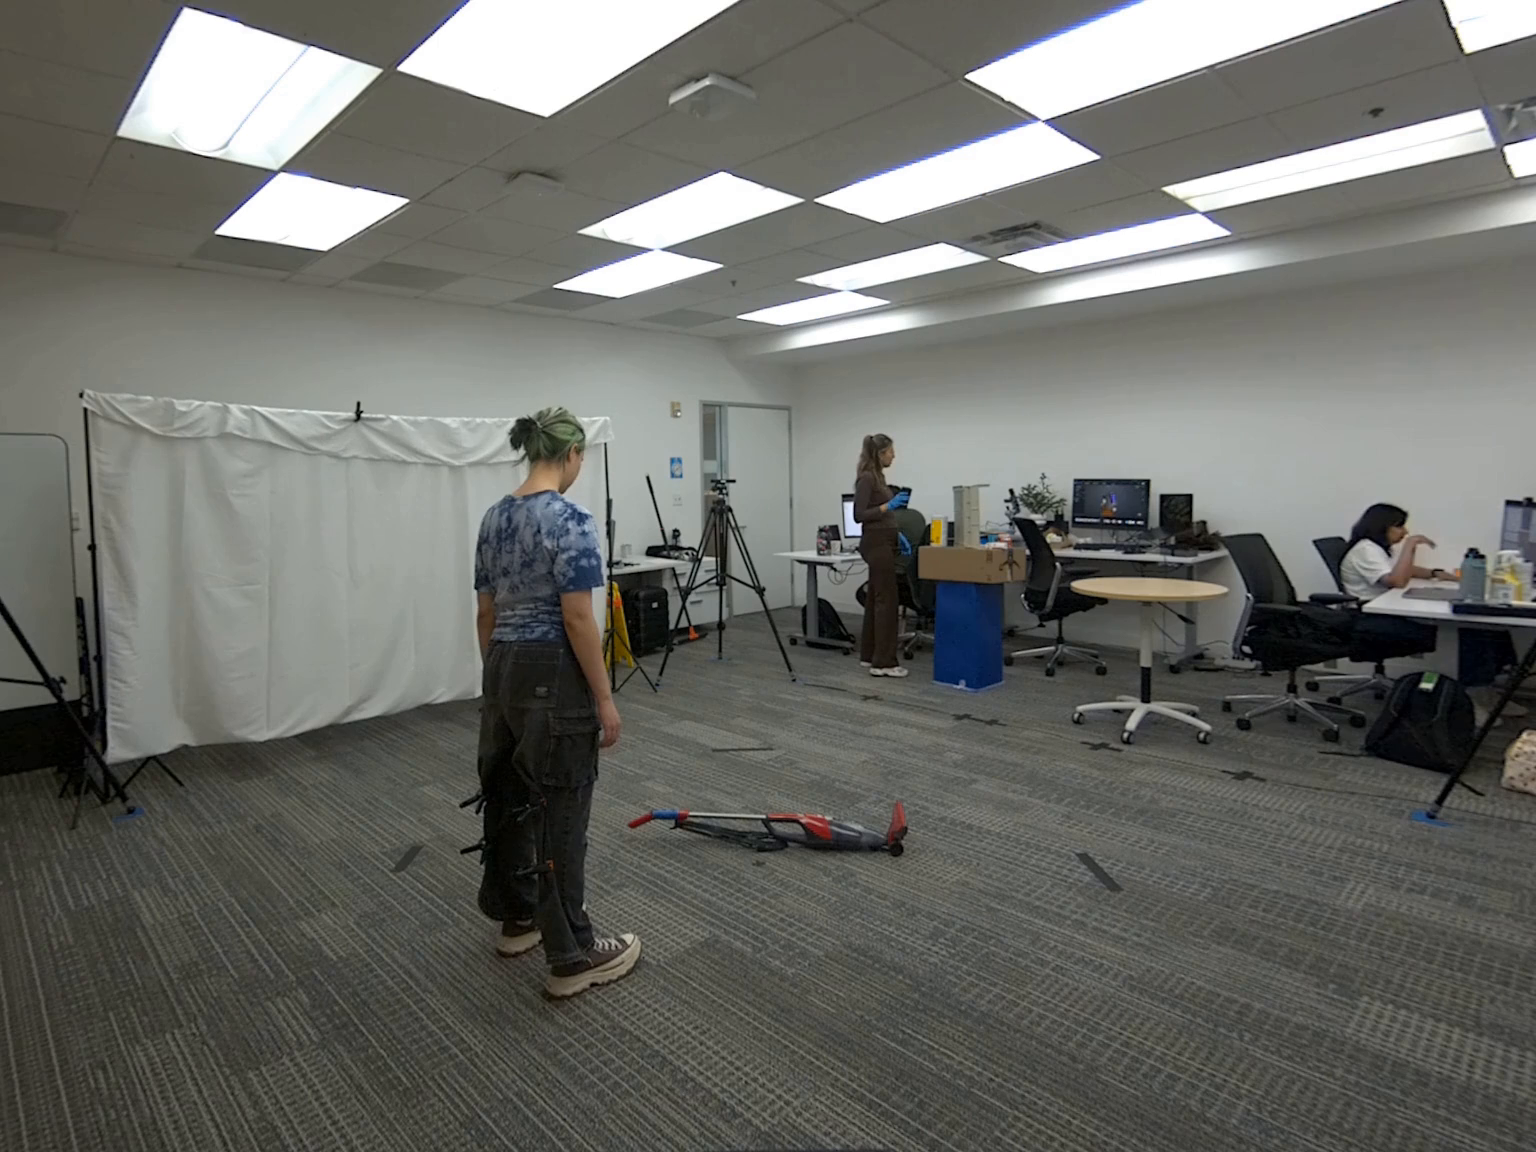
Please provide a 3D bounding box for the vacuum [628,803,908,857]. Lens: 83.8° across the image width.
[{"bbox_3d":[-0.020,0.965,3.253,1.055,0.143,0.252,-2,5,6],"label":"vacuum"}]
